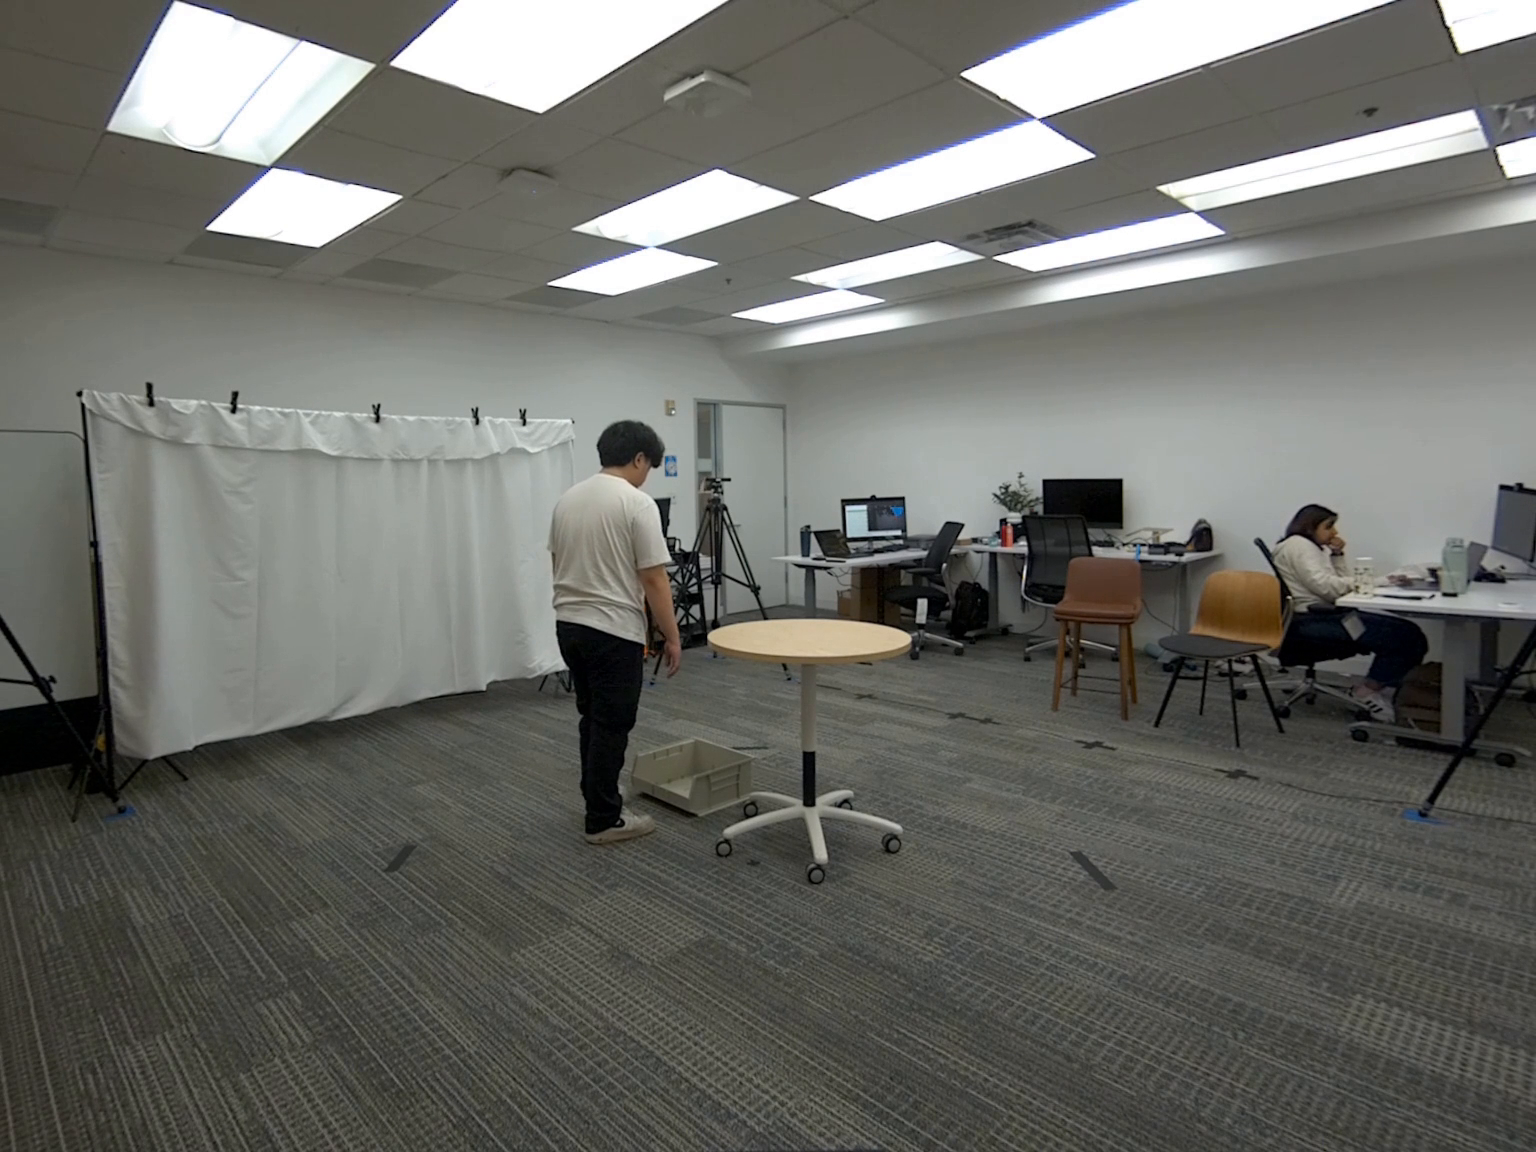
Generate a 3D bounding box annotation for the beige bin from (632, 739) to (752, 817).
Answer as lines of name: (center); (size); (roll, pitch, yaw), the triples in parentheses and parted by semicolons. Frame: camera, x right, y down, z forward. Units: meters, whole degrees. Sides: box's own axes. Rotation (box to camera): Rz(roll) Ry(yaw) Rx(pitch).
beige bin: (-0.331, 0.883, 3.776); (0.367, 0.188, 0.435); (-5, 7, -43)
